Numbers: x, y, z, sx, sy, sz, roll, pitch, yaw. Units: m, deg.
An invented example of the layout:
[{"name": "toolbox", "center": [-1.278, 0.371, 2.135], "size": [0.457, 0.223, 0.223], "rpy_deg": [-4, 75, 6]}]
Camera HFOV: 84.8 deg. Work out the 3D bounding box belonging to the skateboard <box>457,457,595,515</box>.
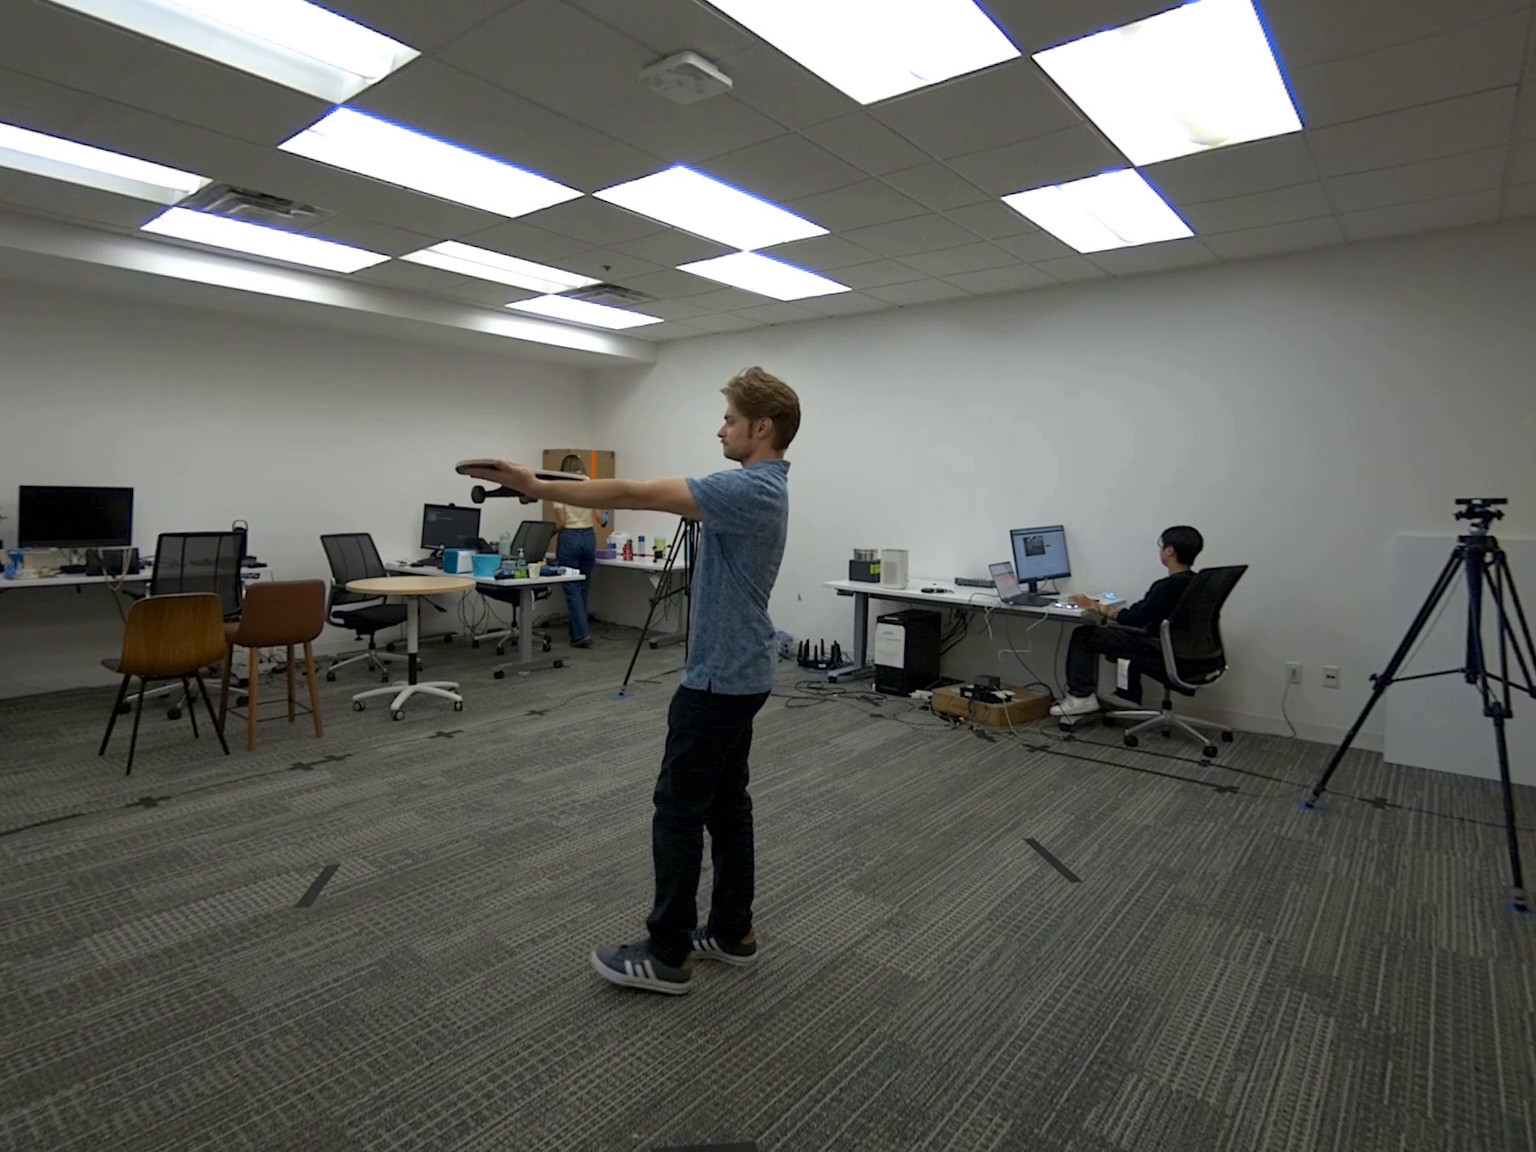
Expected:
[{"name": "skateboard", "center": [-0.687, -0.260, 2.520], "size": [0.194, 0.110, 0.786], "rpy_deg": [10, 4, -1]}]
